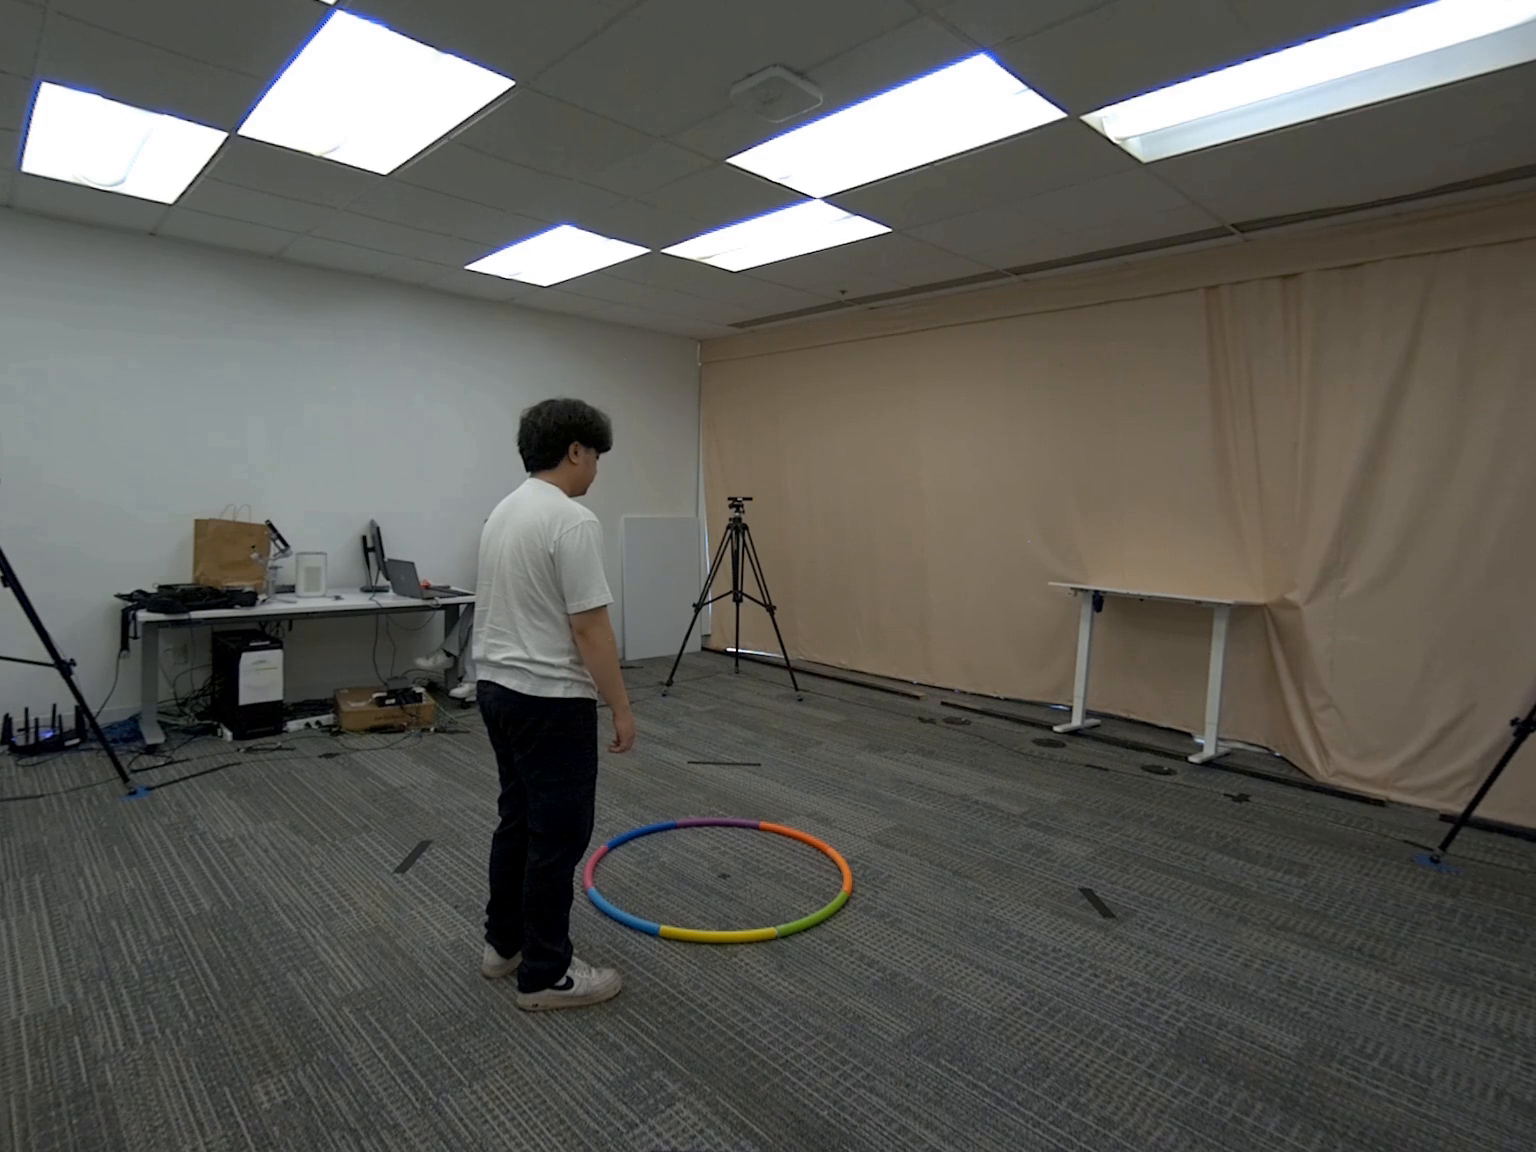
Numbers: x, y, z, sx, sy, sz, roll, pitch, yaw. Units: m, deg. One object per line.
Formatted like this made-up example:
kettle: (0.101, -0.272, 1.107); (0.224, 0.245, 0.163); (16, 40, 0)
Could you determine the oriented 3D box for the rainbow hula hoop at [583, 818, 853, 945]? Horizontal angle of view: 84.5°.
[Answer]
rainbow hula hoop: (-0.193, 1.081, 3.111); (0.985, 0.051, 0.989); (1, 5, -1)
